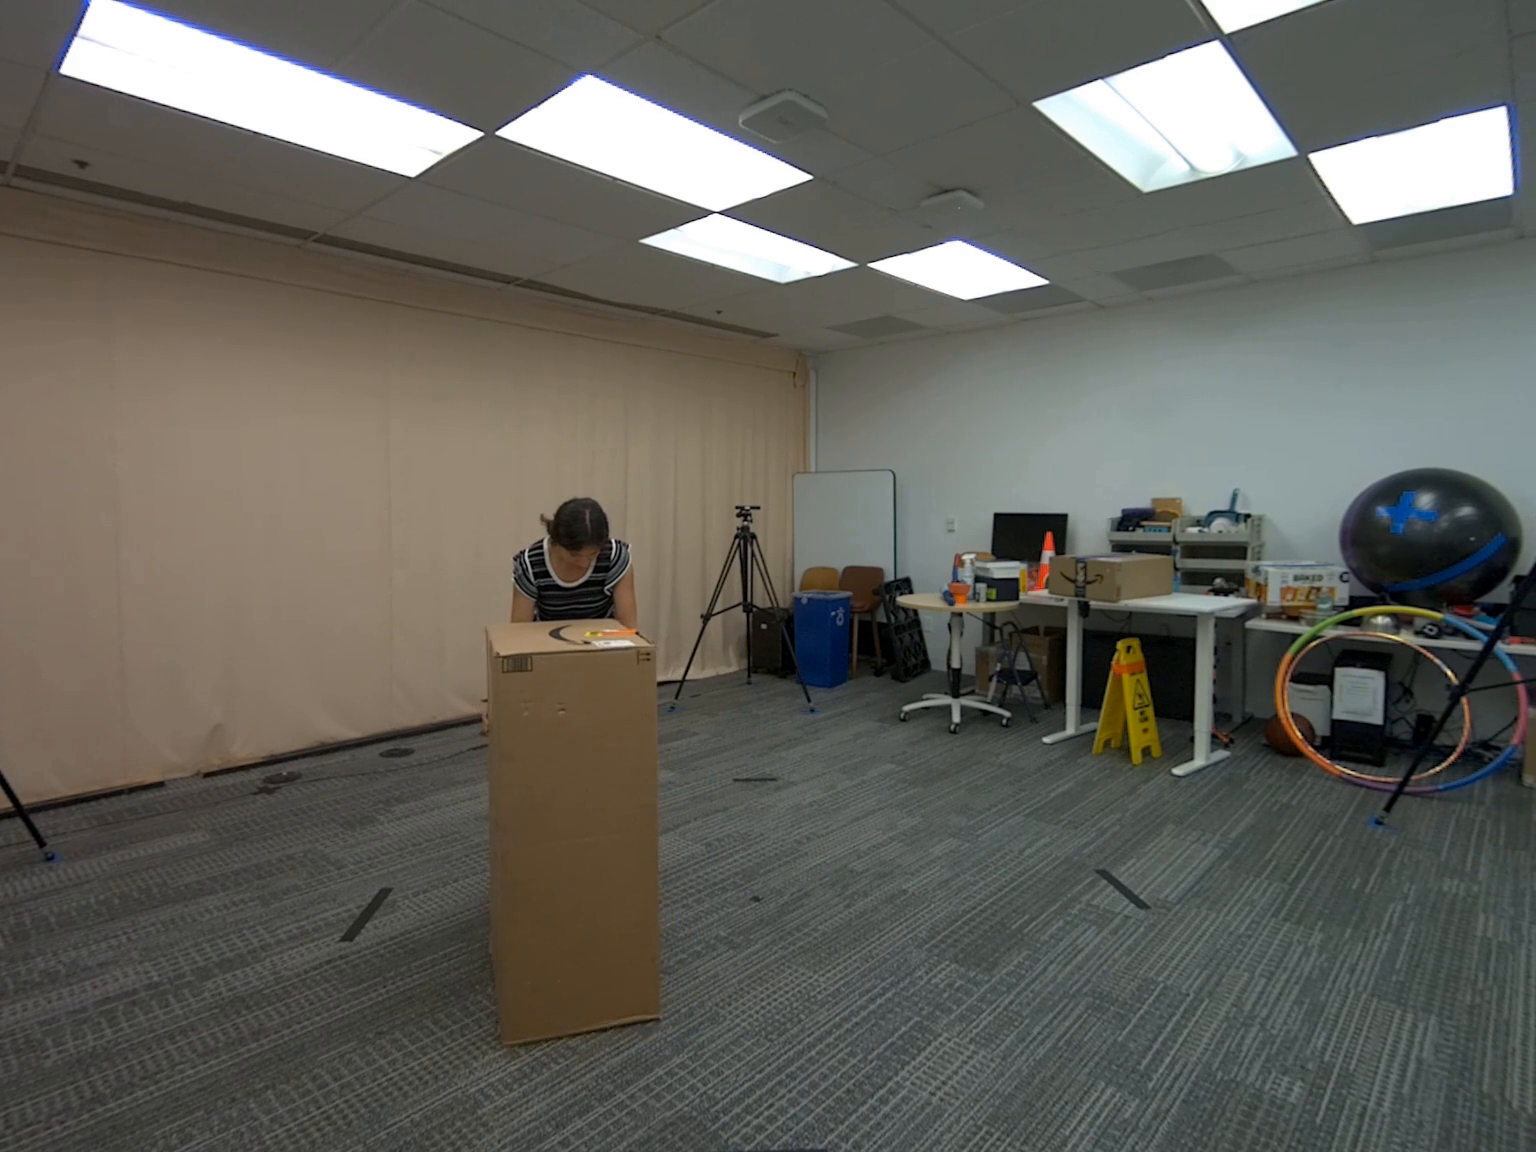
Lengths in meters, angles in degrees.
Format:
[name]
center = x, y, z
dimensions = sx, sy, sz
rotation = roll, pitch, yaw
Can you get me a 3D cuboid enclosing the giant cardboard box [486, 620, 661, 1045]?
[giant cardboard box]
center = -0.586, 0.683, 2.469
dimensions = 0.418, 1.024, 0.590
rotation = -1, 3, -20
